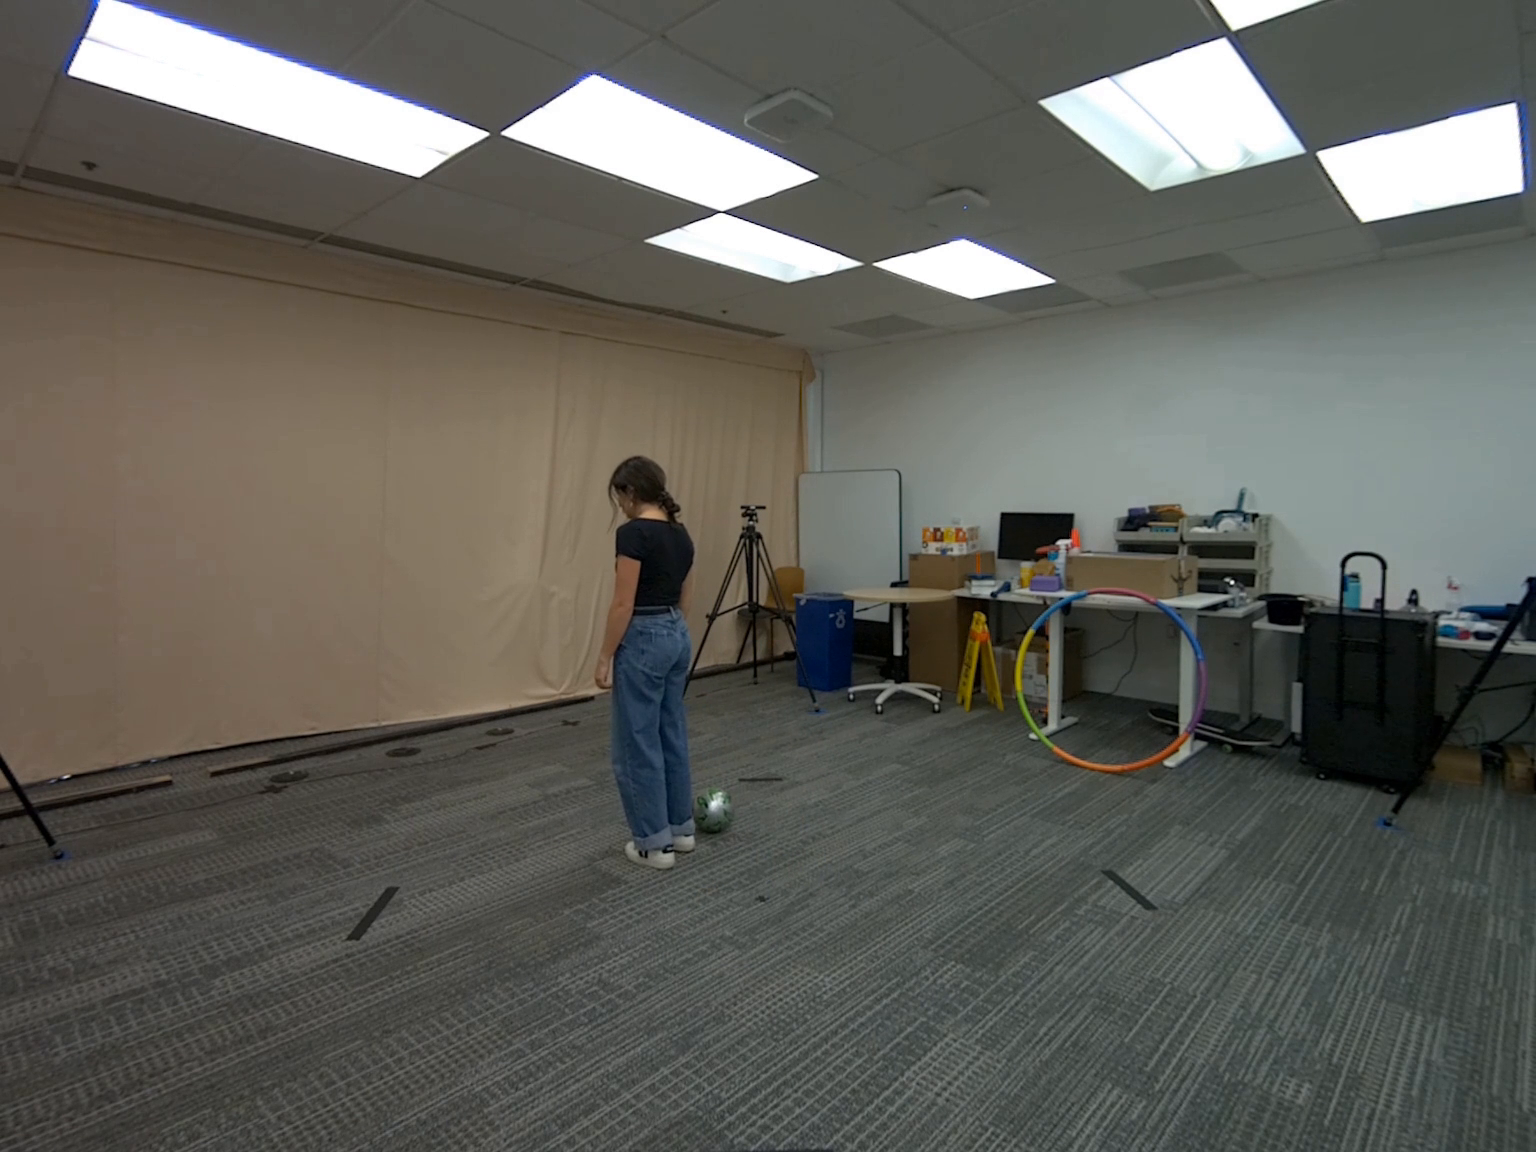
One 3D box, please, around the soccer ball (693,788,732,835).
[{"bbox_3d":[-0.228,1.005,3.603,0.187,0.187,0.188,0,4,-2],"label":"soccer ball"}]
